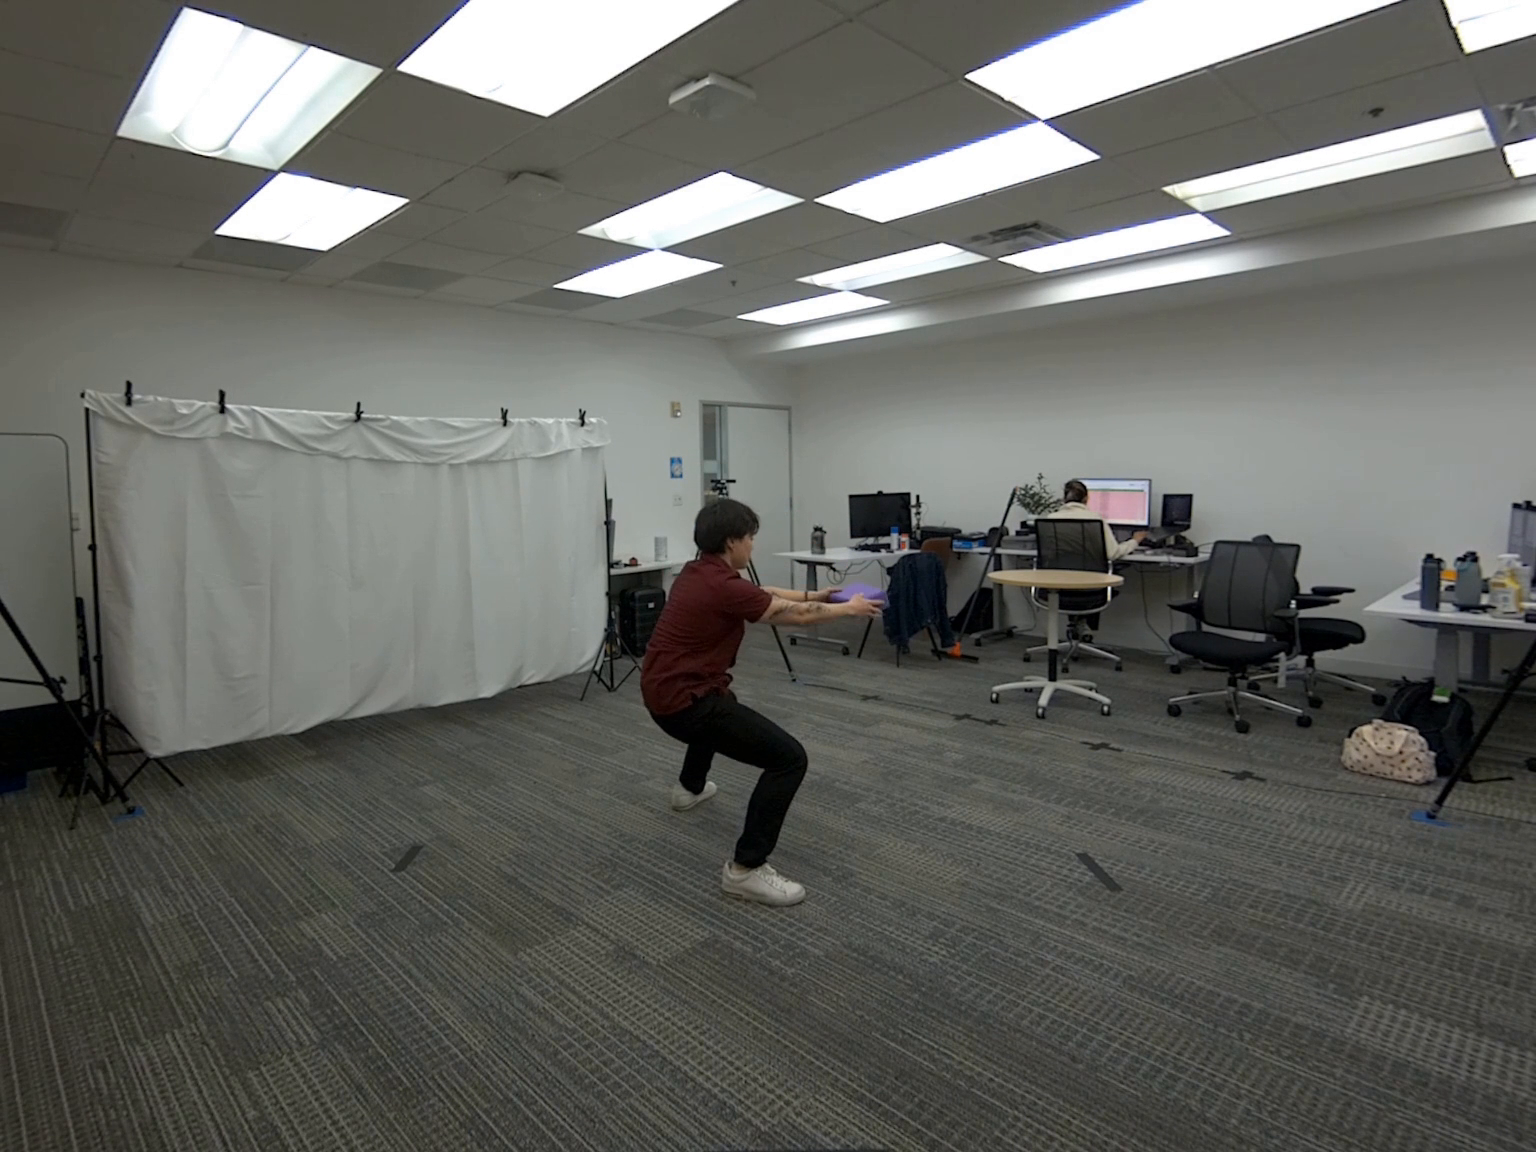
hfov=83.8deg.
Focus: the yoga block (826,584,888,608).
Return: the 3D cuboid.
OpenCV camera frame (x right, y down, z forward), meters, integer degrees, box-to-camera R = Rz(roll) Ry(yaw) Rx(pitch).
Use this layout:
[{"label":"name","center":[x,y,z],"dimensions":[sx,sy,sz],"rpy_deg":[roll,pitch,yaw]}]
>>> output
[{"label":"yoga block","center":[0.361,0.084,3.437],"dimensions":[0.147,0.075,0.235],"rpy_deg":[-15,15,-19]}]
